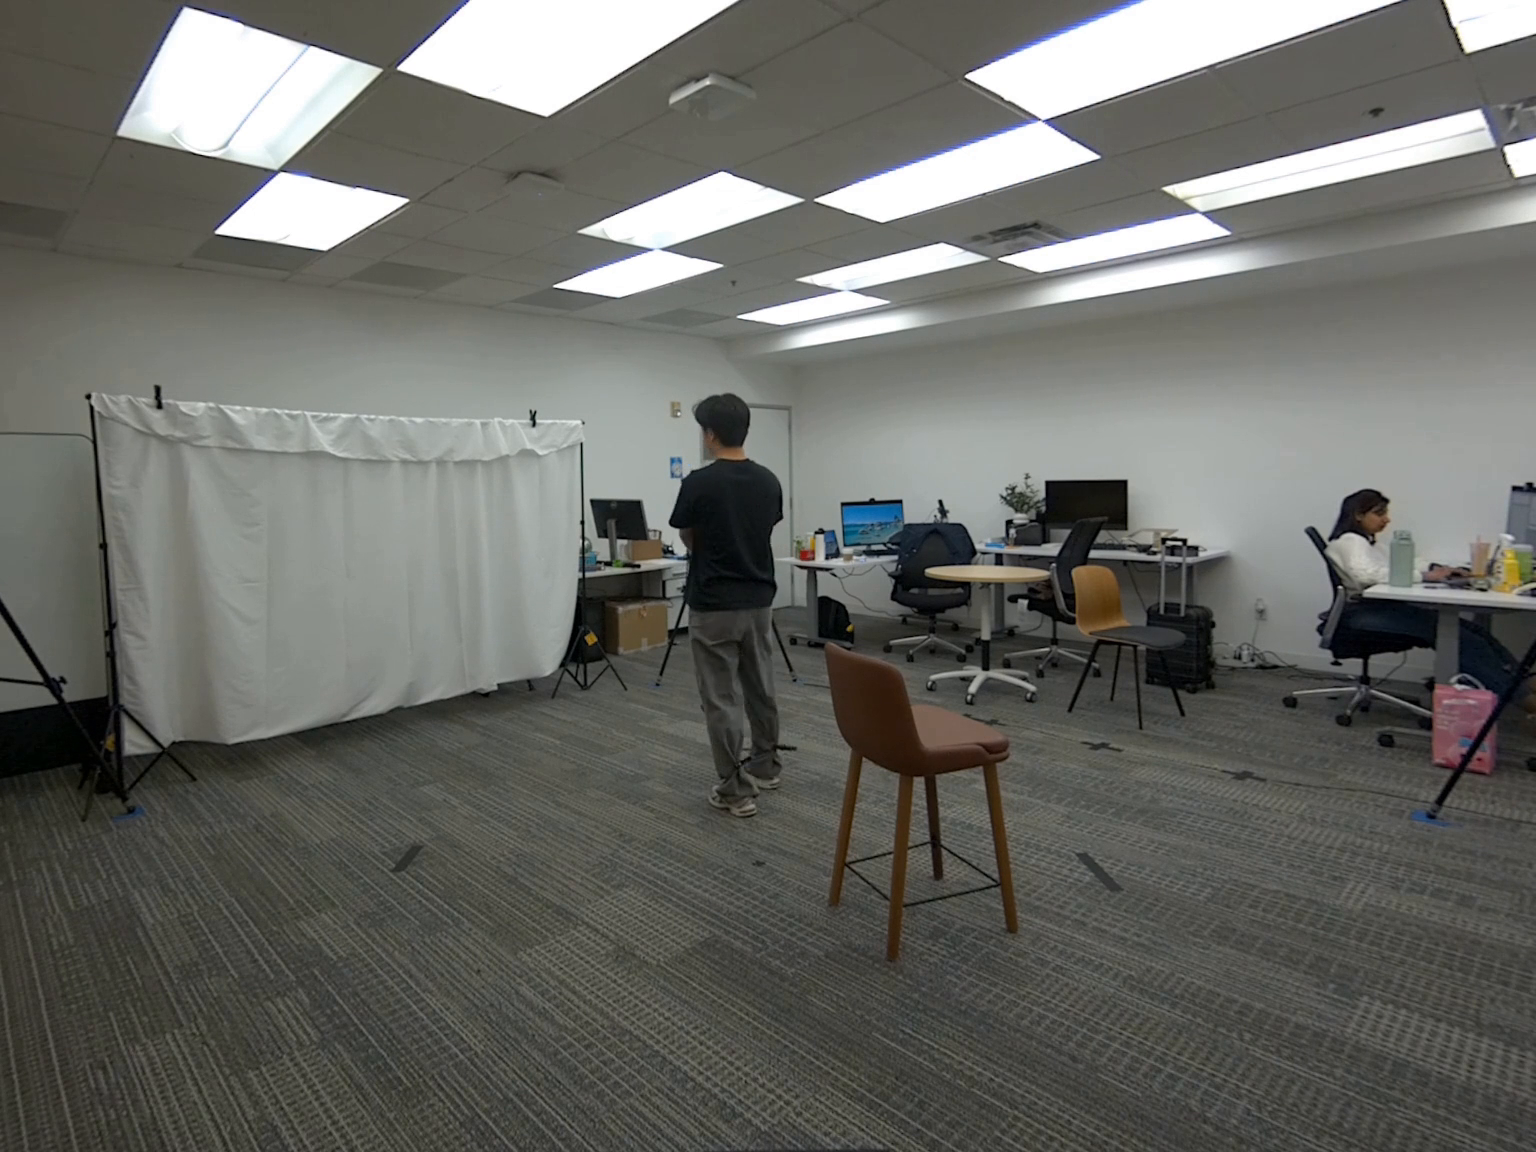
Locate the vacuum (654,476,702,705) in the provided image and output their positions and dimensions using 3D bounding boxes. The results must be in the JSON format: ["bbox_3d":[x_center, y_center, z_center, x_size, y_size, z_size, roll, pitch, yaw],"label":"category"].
[{"bbox_3d":[-0.319,0.052,4.049,0.247,1.056,0.146,-6,-7,-27],"label":"vacuum"}]
